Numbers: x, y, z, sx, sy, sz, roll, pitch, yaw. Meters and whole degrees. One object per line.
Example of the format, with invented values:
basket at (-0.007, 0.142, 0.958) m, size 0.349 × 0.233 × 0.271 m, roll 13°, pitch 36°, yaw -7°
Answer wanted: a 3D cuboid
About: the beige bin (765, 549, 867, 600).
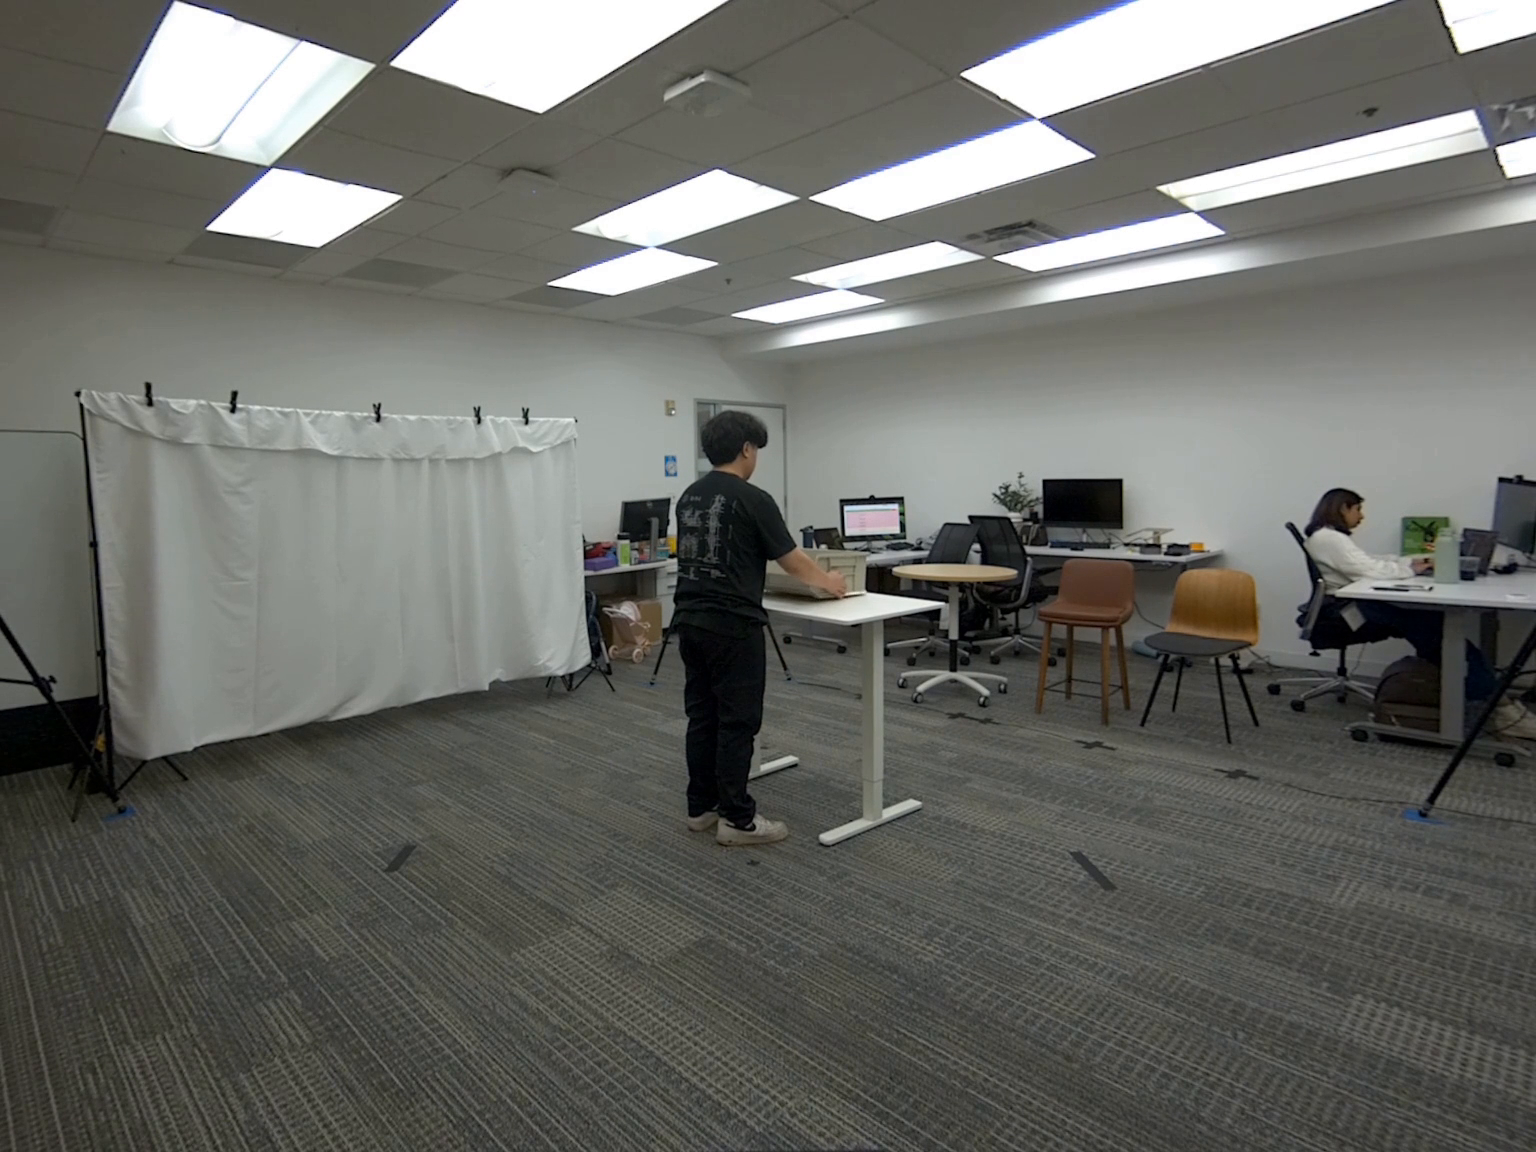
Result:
beige bin at (0.173, -0.014, 3.752) m, size 0.366 × 0.188 × 0.435 m, roll -1°, pitch 4°, yaw -43°
